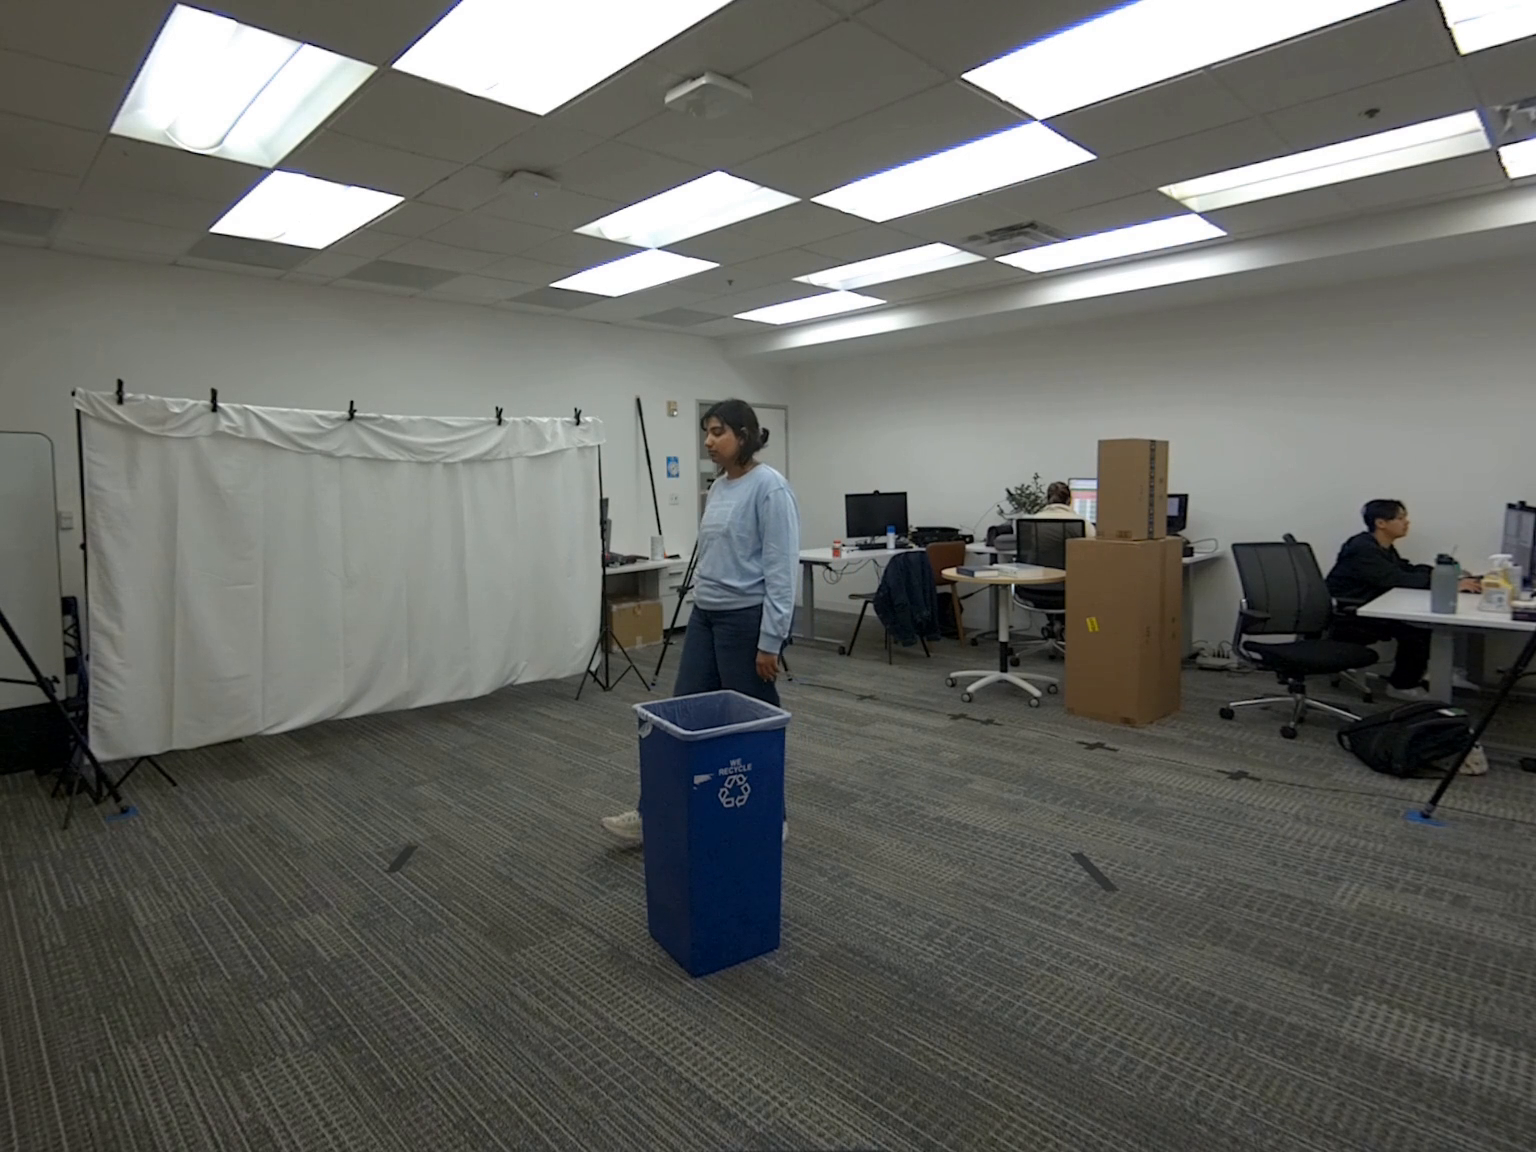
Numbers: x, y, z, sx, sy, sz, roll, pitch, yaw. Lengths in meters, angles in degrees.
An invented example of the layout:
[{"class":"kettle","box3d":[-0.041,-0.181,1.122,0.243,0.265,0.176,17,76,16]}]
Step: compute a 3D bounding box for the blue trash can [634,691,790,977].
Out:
[{"class":"blue trash can","box3d":[-0.167,0.756,2.582,0.365,0.711,0.389,-4,5,-33]}]
